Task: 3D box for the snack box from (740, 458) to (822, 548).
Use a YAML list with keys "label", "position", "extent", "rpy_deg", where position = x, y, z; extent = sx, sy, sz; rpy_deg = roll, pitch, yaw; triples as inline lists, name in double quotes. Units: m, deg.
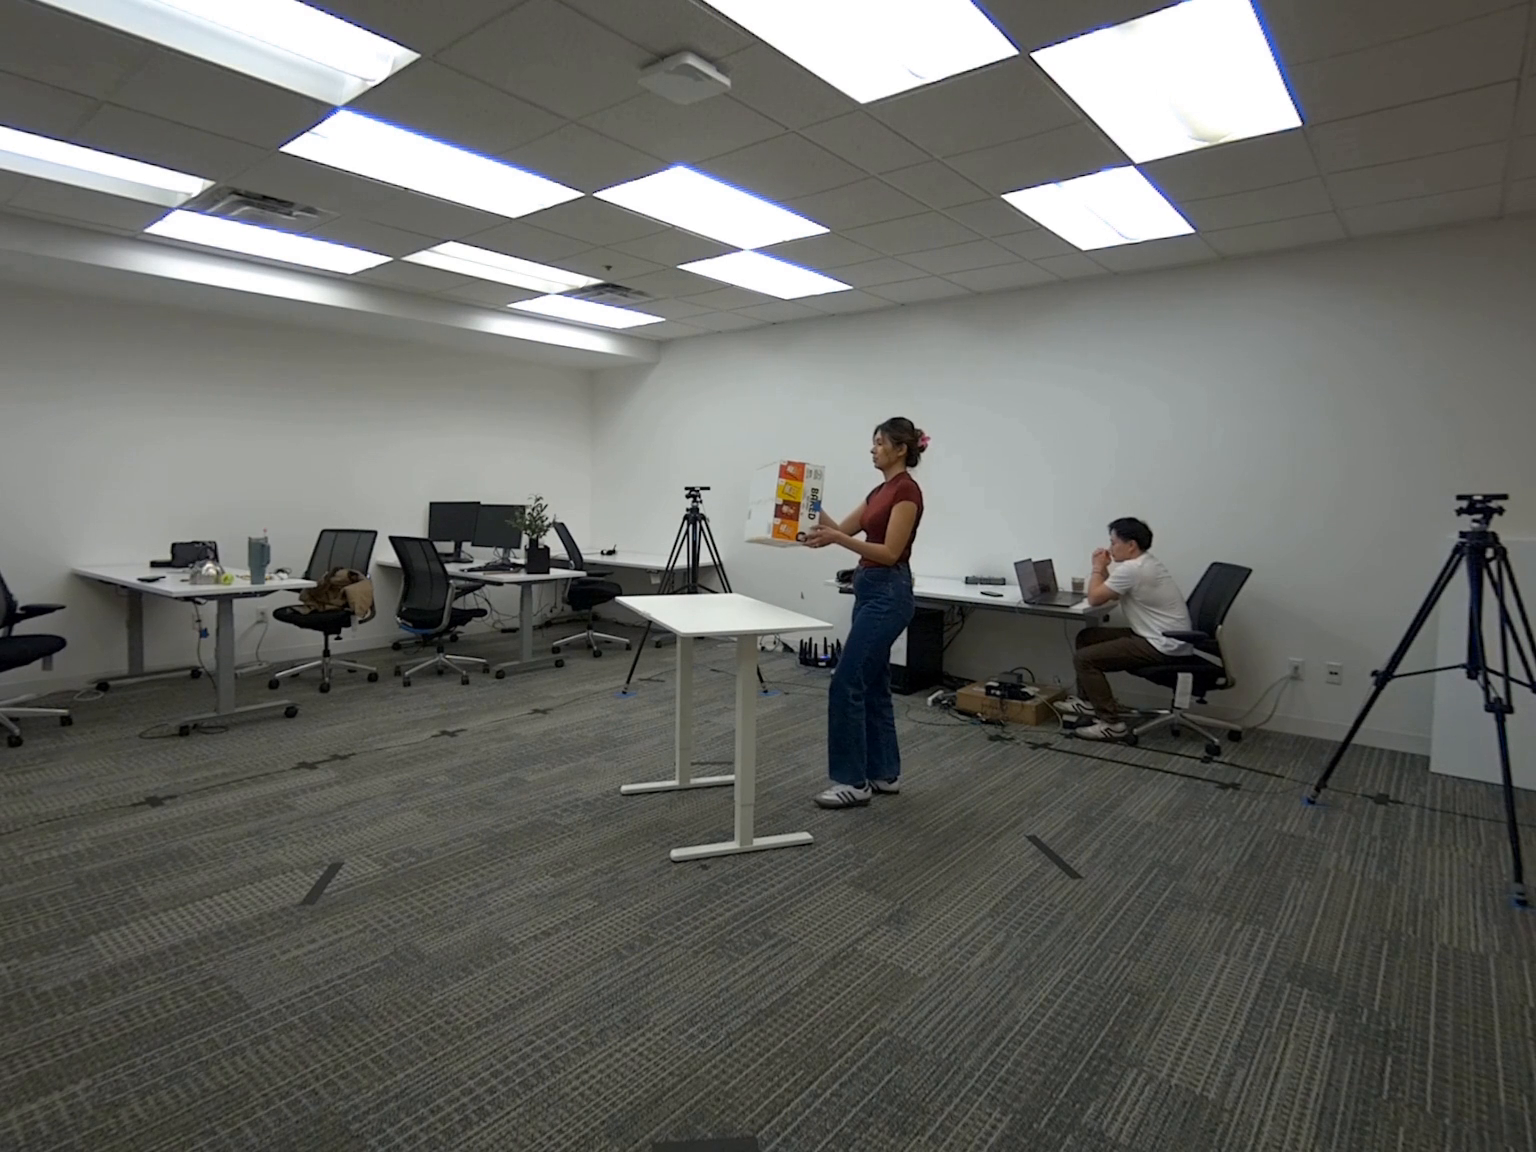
- label: "snack box"
  position: [0.049, -0.318, 3.760]
  extent: [0.202, 0.342, 0.411]
  rpy_deg: [7, -4, -17]
